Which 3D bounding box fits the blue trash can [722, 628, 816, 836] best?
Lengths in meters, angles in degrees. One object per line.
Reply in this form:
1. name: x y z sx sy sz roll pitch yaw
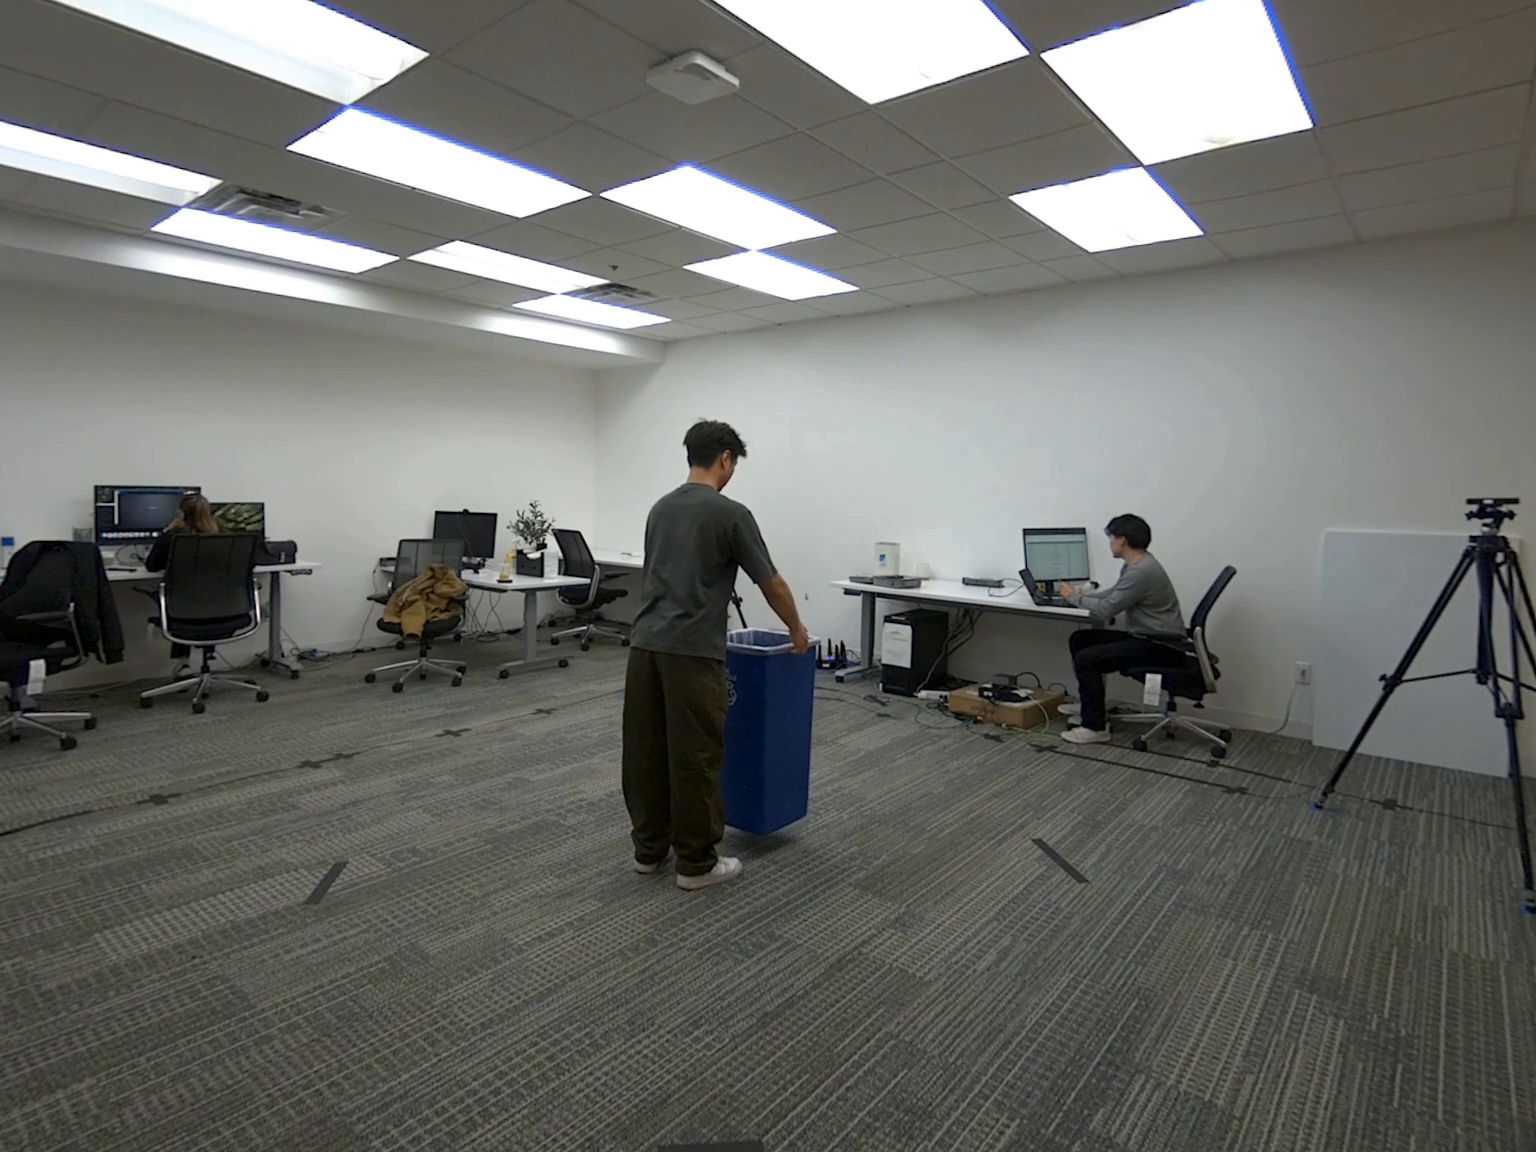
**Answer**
1. blue trash can: -0.048 0.598 3.367 0.390 0.711 0.363 4 5 38
